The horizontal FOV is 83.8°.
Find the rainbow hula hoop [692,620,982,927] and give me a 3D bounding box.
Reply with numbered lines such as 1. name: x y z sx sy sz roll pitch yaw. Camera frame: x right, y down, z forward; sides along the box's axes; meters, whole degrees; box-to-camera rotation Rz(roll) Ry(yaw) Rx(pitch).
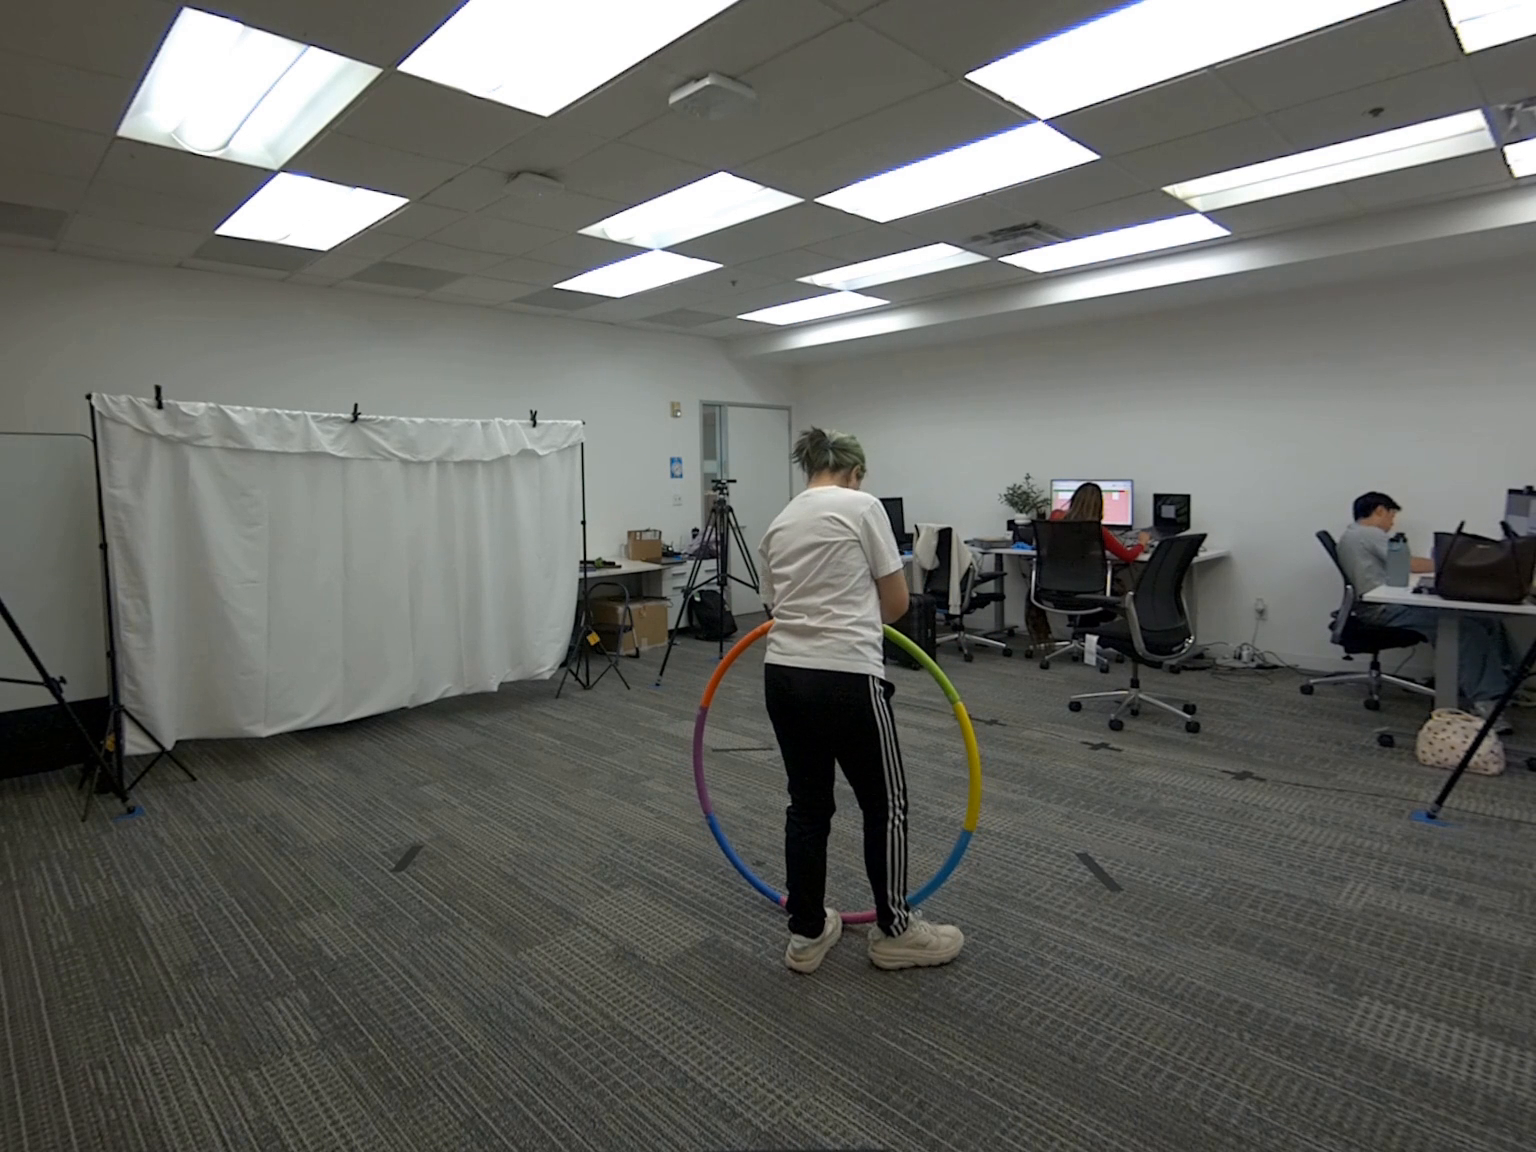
1. rainbow hula hoop: 0.181 0.601 2.765 1.004 0.984 0.034 1 -7 29
